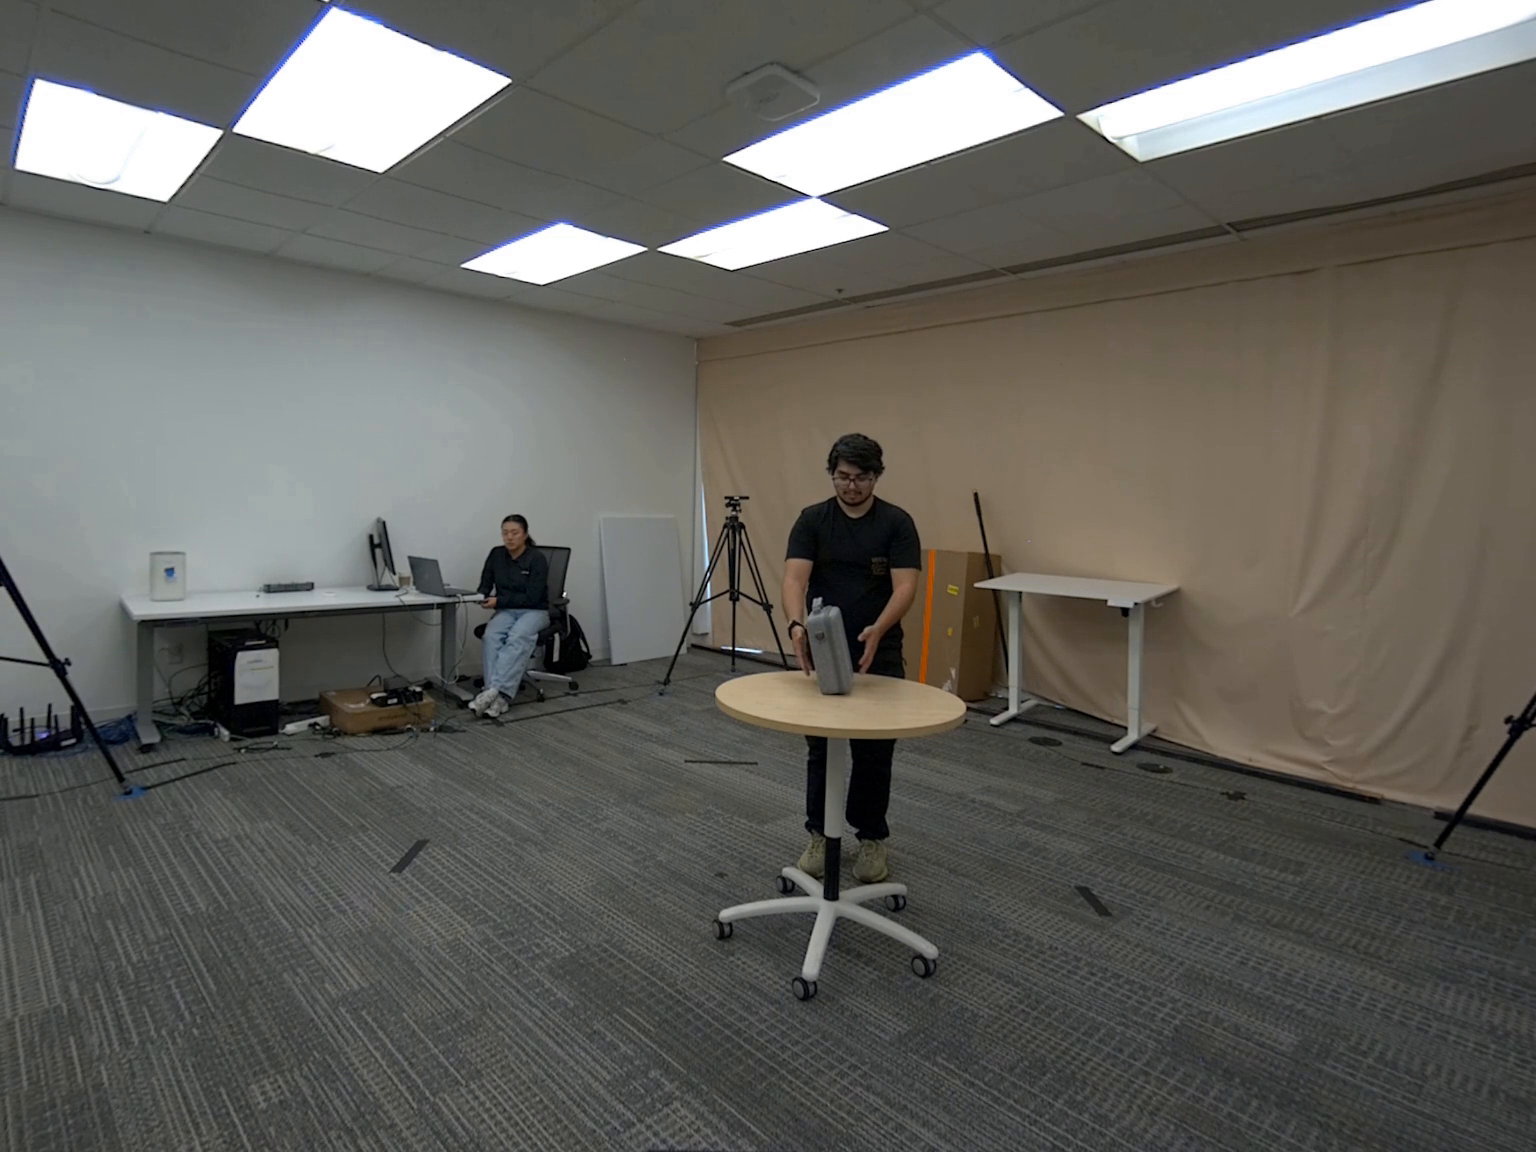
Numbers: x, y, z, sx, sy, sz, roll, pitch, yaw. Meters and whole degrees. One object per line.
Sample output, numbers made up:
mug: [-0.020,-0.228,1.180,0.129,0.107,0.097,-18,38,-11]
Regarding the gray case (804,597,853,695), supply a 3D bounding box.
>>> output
gray case: [0.183,0.230,2.713,0.105,0.260,0.256,-9,2,7]
